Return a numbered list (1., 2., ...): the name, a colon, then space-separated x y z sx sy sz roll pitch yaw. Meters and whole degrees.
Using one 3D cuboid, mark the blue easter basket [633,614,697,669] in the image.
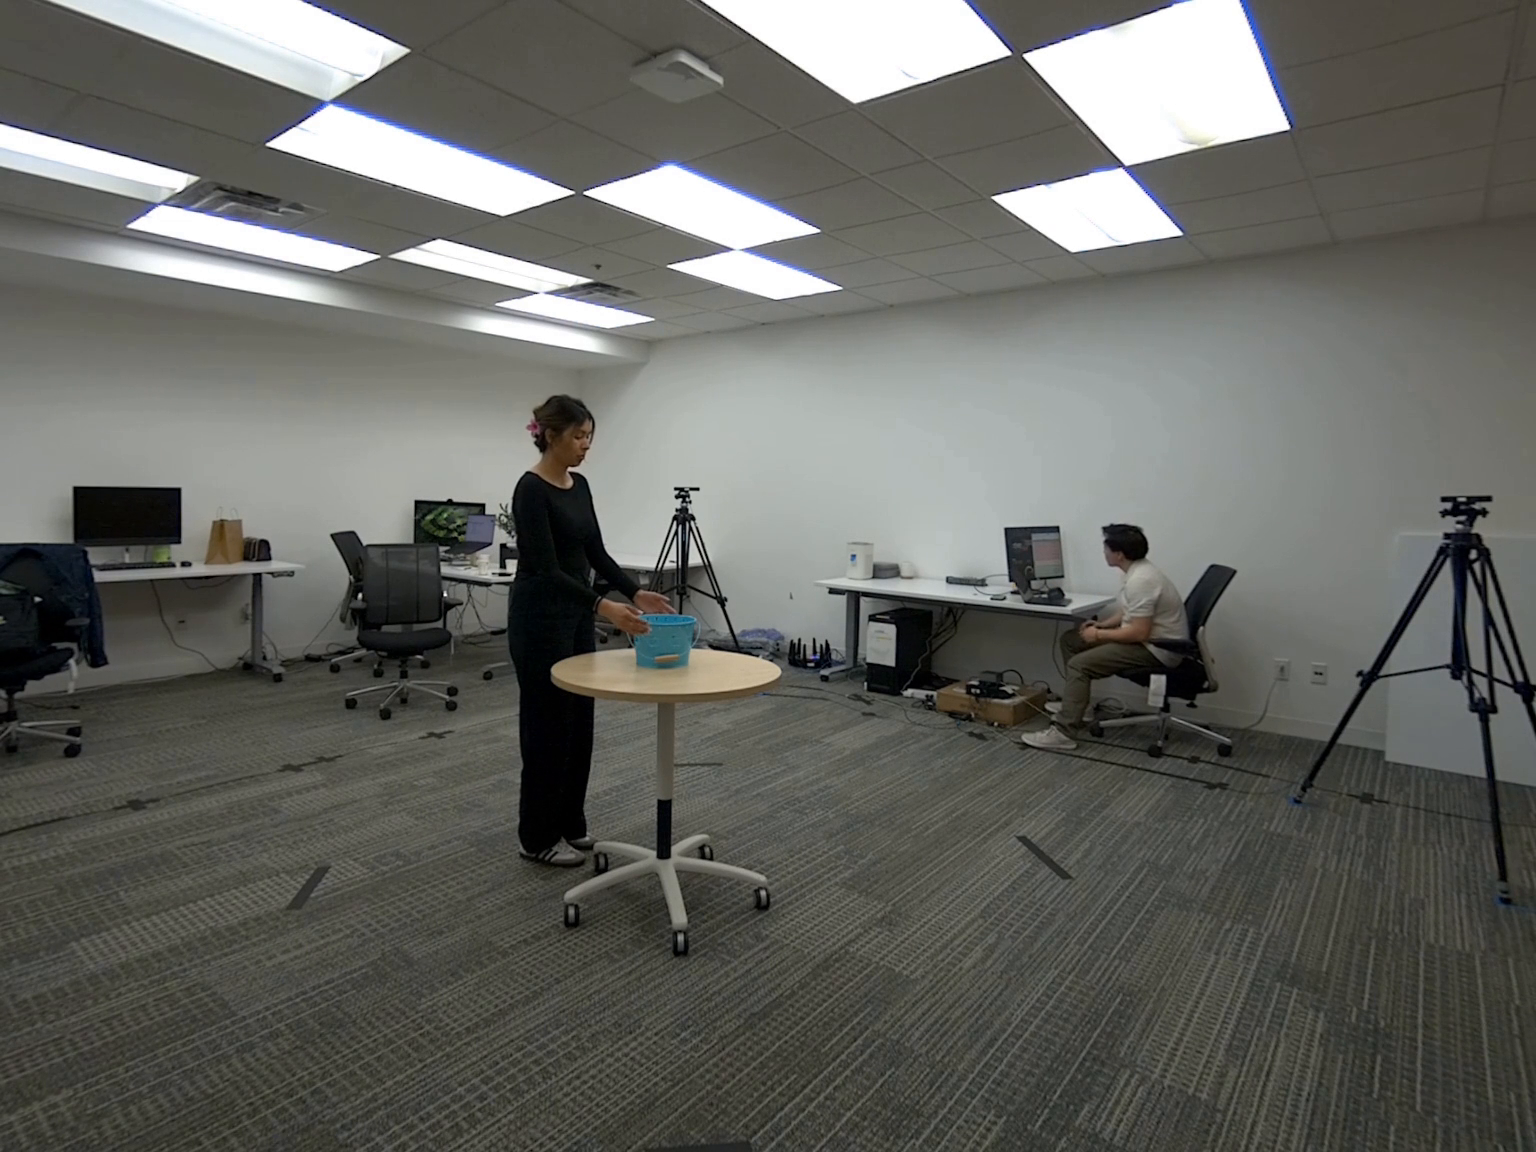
1. blue easter basket: -0.380 0.226 2.924 0.243 0.155 0.244 0 4 -2
